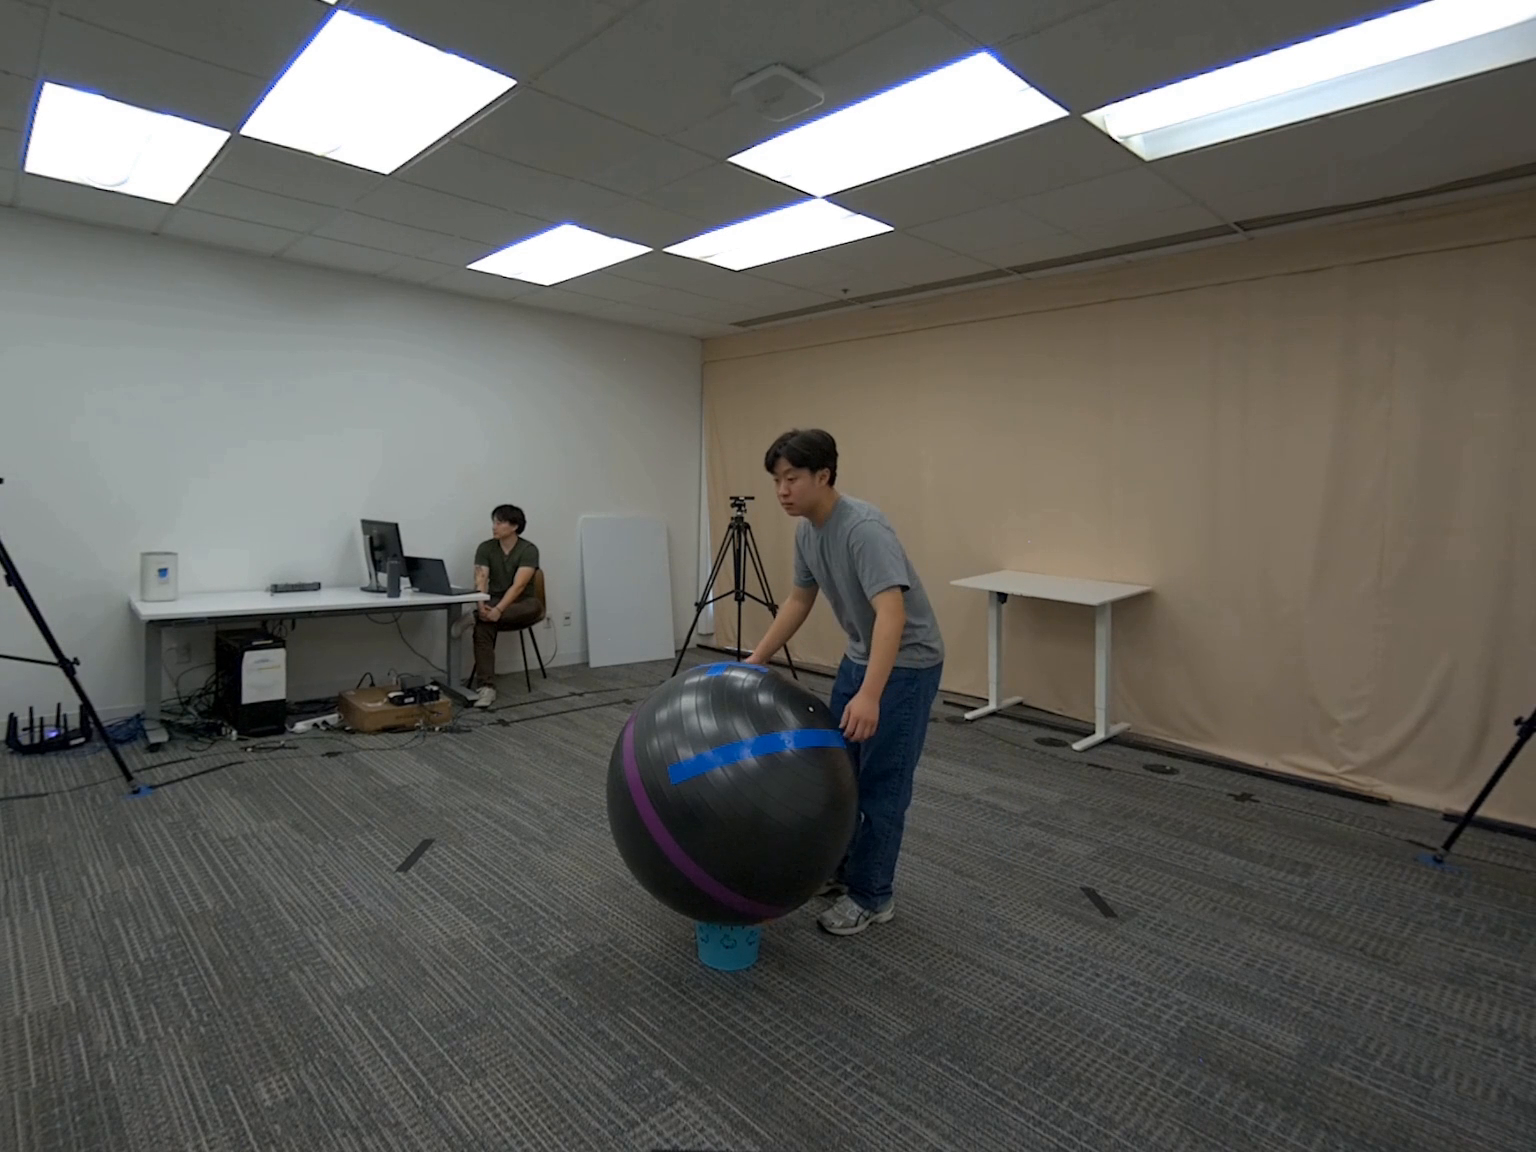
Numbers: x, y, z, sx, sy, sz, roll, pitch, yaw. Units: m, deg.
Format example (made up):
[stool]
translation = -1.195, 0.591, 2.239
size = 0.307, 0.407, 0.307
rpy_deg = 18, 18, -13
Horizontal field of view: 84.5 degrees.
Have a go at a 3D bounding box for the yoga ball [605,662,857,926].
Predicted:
[yoga ball]
translation = -0.115, 0.653, 2.535
size = 0.757, 0.756, 0.761
rpy_deg = 1, 4, -1
